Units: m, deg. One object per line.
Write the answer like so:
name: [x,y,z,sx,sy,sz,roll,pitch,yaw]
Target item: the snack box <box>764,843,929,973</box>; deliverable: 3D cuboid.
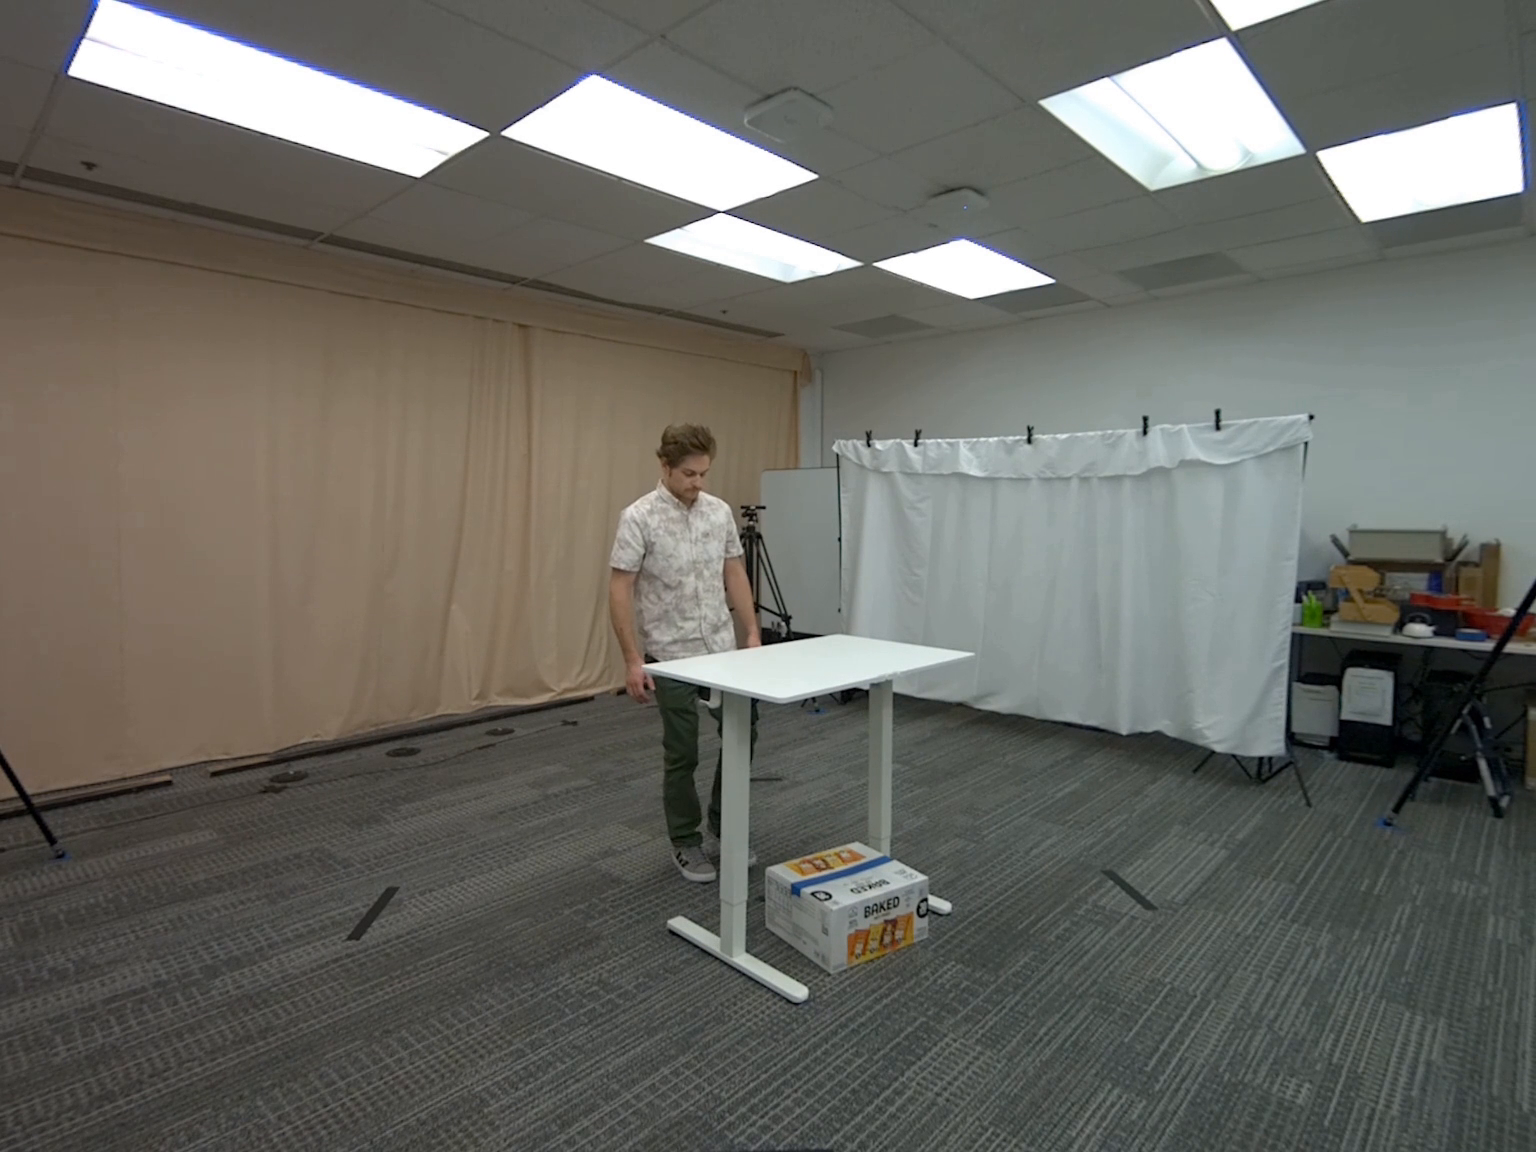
snack box: [0.258,1.065,2.729,0.394,0.205,0.351,-3,5,-34]
